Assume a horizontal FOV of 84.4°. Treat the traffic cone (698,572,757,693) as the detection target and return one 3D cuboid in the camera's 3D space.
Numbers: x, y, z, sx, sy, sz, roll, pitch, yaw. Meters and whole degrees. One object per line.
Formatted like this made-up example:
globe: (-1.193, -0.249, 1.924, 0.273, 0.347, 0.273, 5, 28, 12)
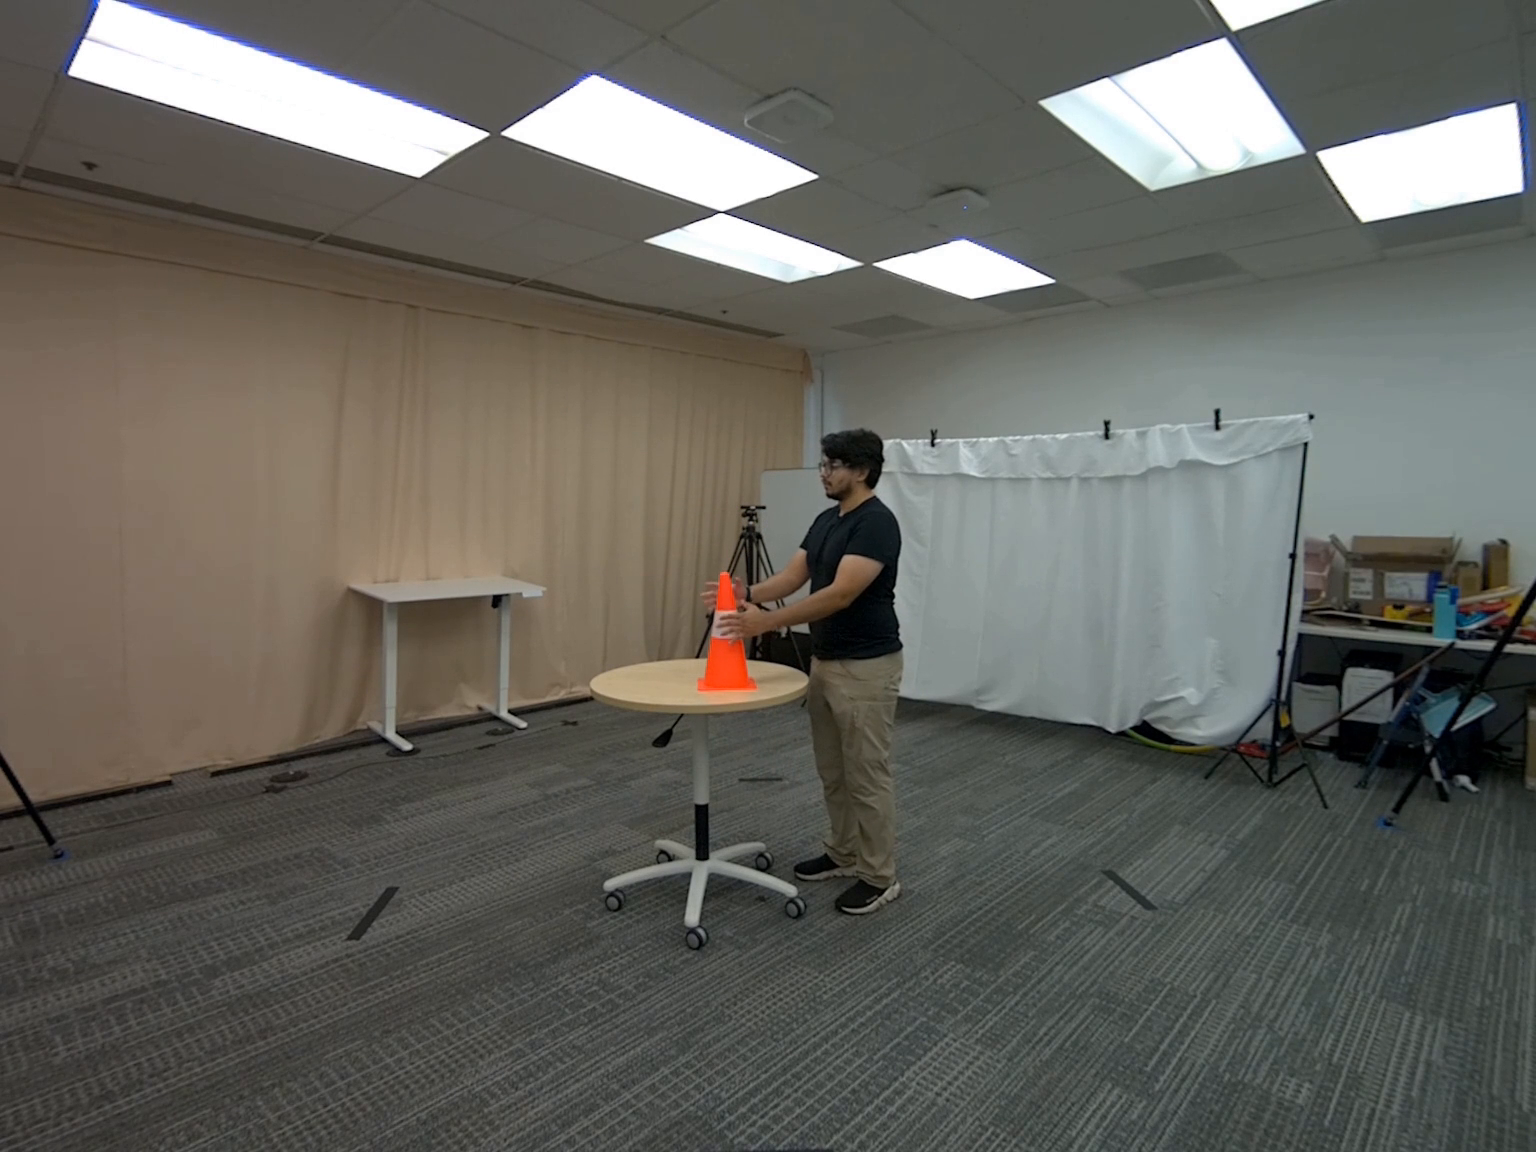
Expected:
traffic cone: (-0.143, 0.184, 2.867, 0.203, 0.383, 0.205, -2, 0, -9)
